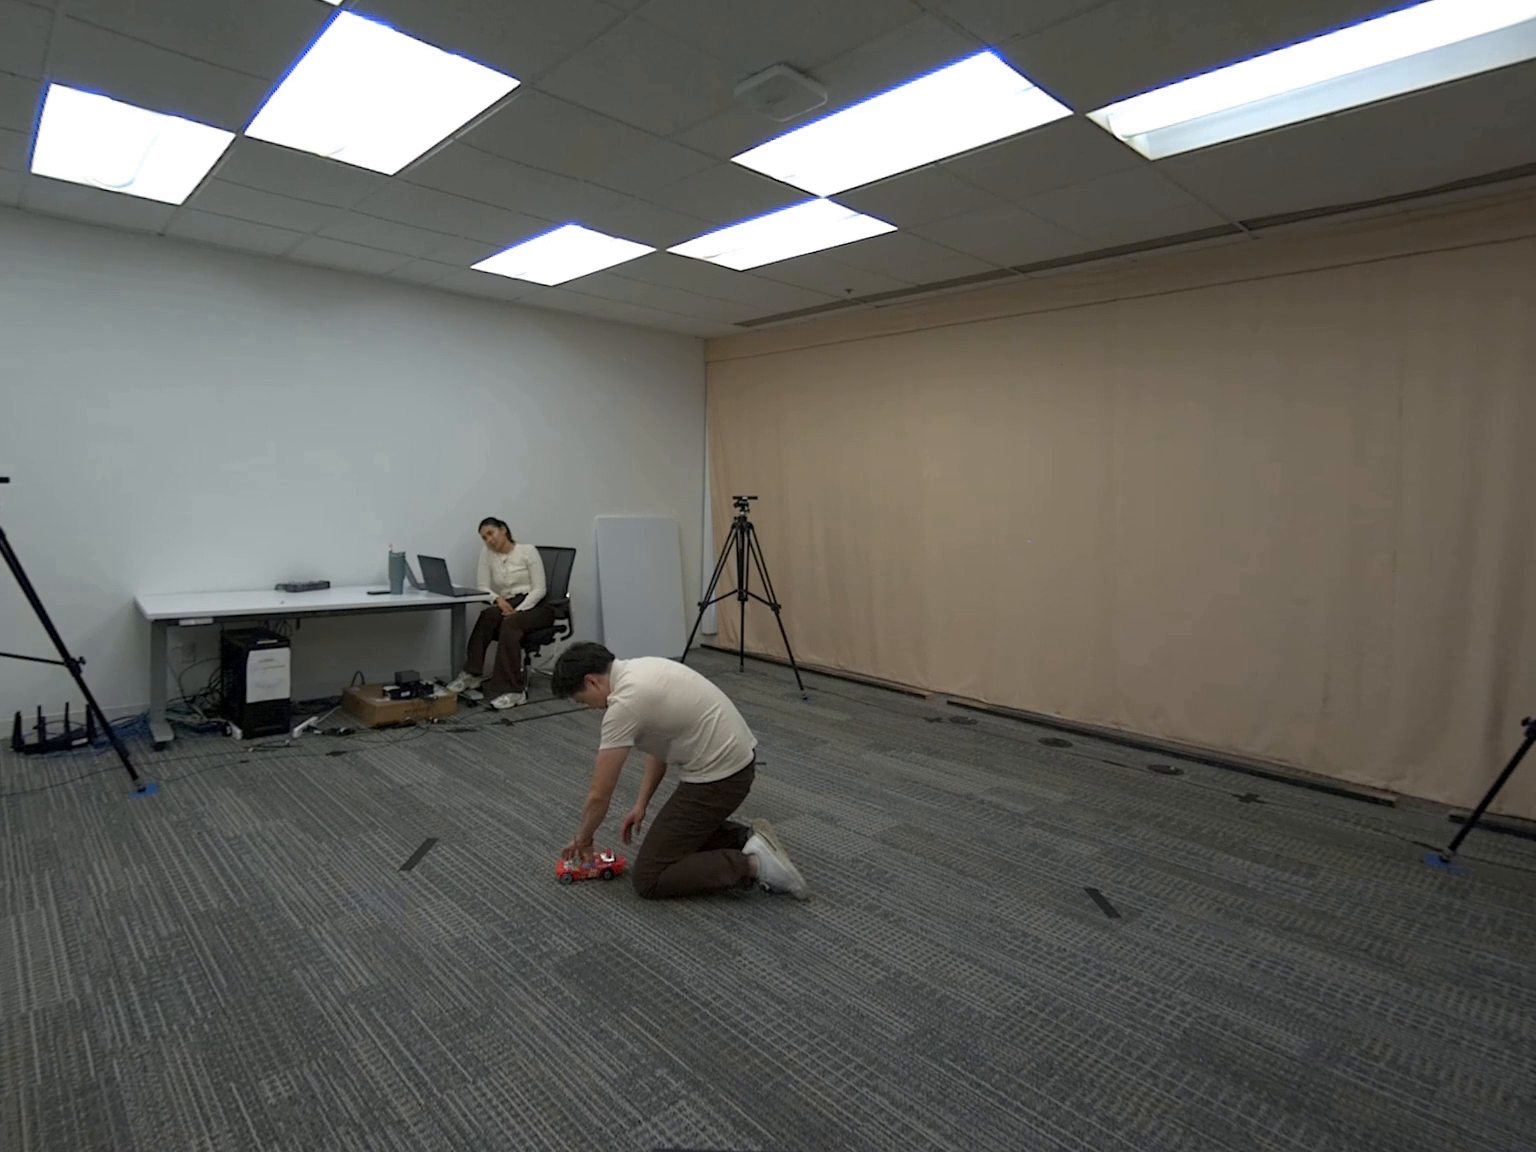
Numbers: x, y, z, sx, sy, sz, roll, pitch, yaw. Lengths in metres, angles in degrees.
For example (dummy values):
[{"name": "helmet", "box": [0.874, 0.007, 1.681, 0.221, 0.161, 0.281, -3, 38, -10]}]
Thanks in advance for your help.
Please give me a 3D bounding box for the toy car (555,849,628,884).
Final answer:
[{"name": "toy car", "box": [-0.644, 1.058, 3.072, 0.253, 0.083, 0.132, -13, 7, -10]}]
